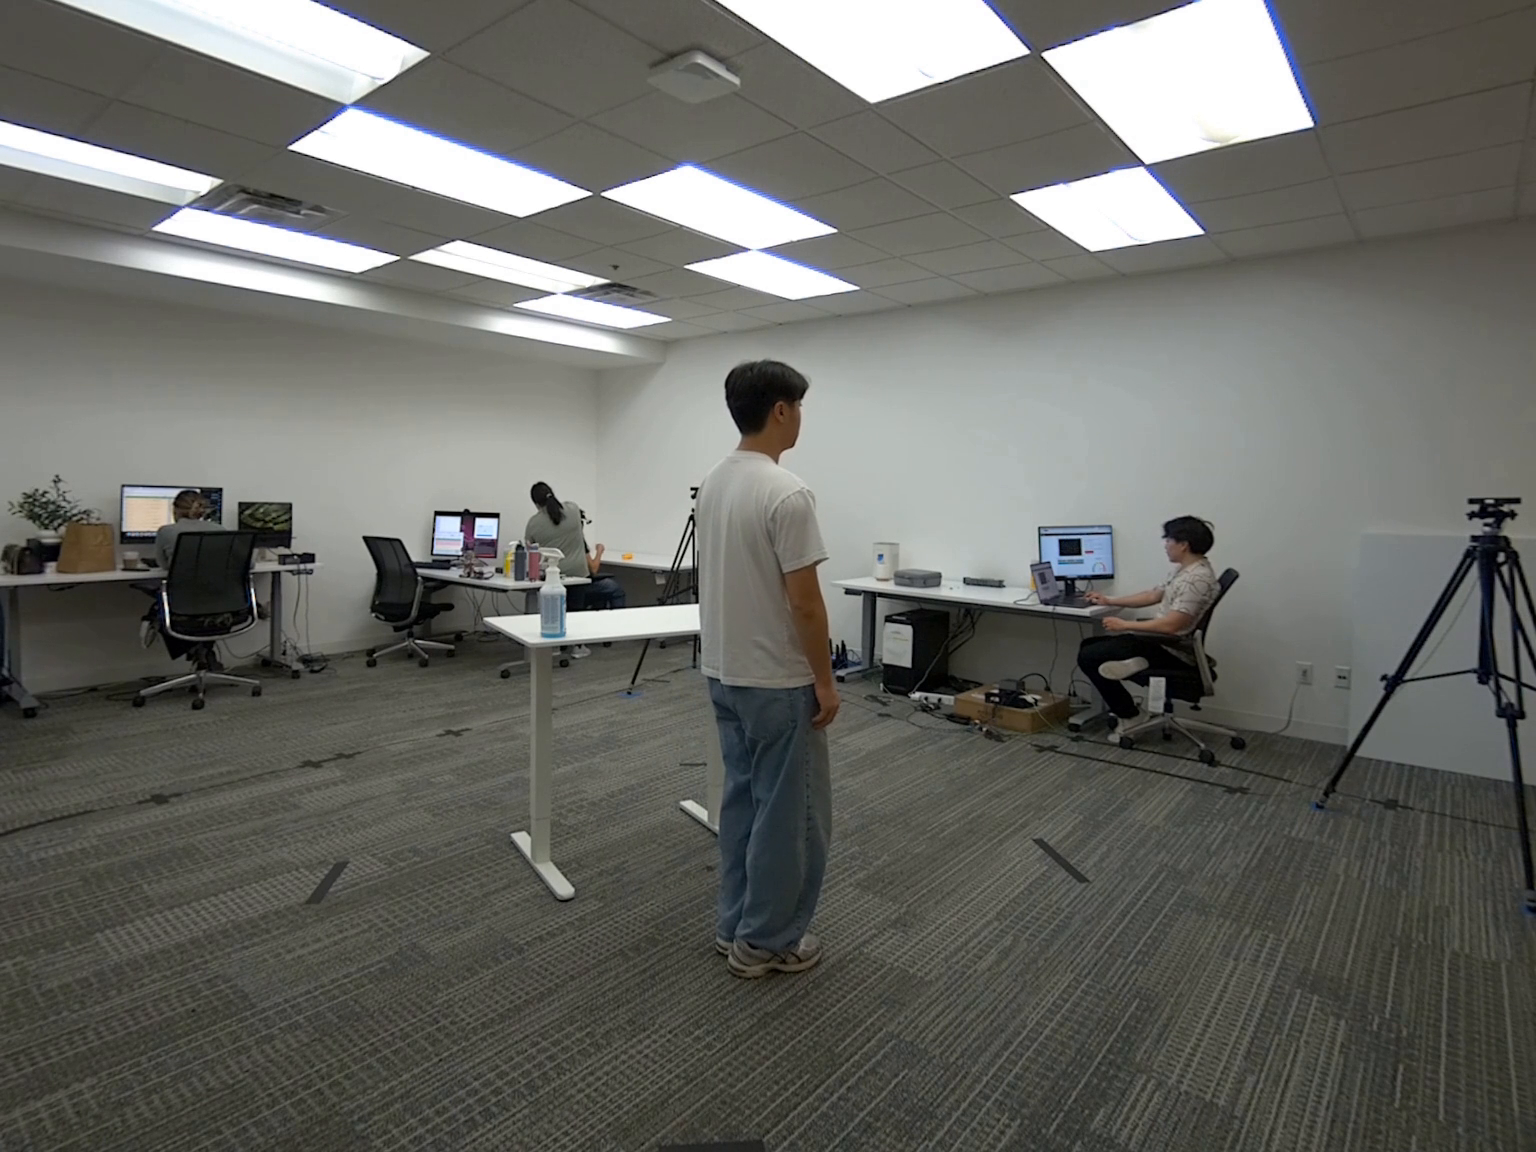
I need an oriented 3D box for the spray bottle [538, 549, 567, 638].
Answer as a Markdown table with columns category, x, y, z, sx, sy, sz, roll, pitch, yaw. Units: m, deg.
| category | x | y | z | sx | sy | sz | roll | pitch | yaw |
| --- | --- | --- | --- | --- | --- | --- | --- | --- | --- |
| spray bottle | -0.738 | 0.055 | 2.862 | 0.093 | 0.297 | 0.084 | 1 | 3 | 36 |
